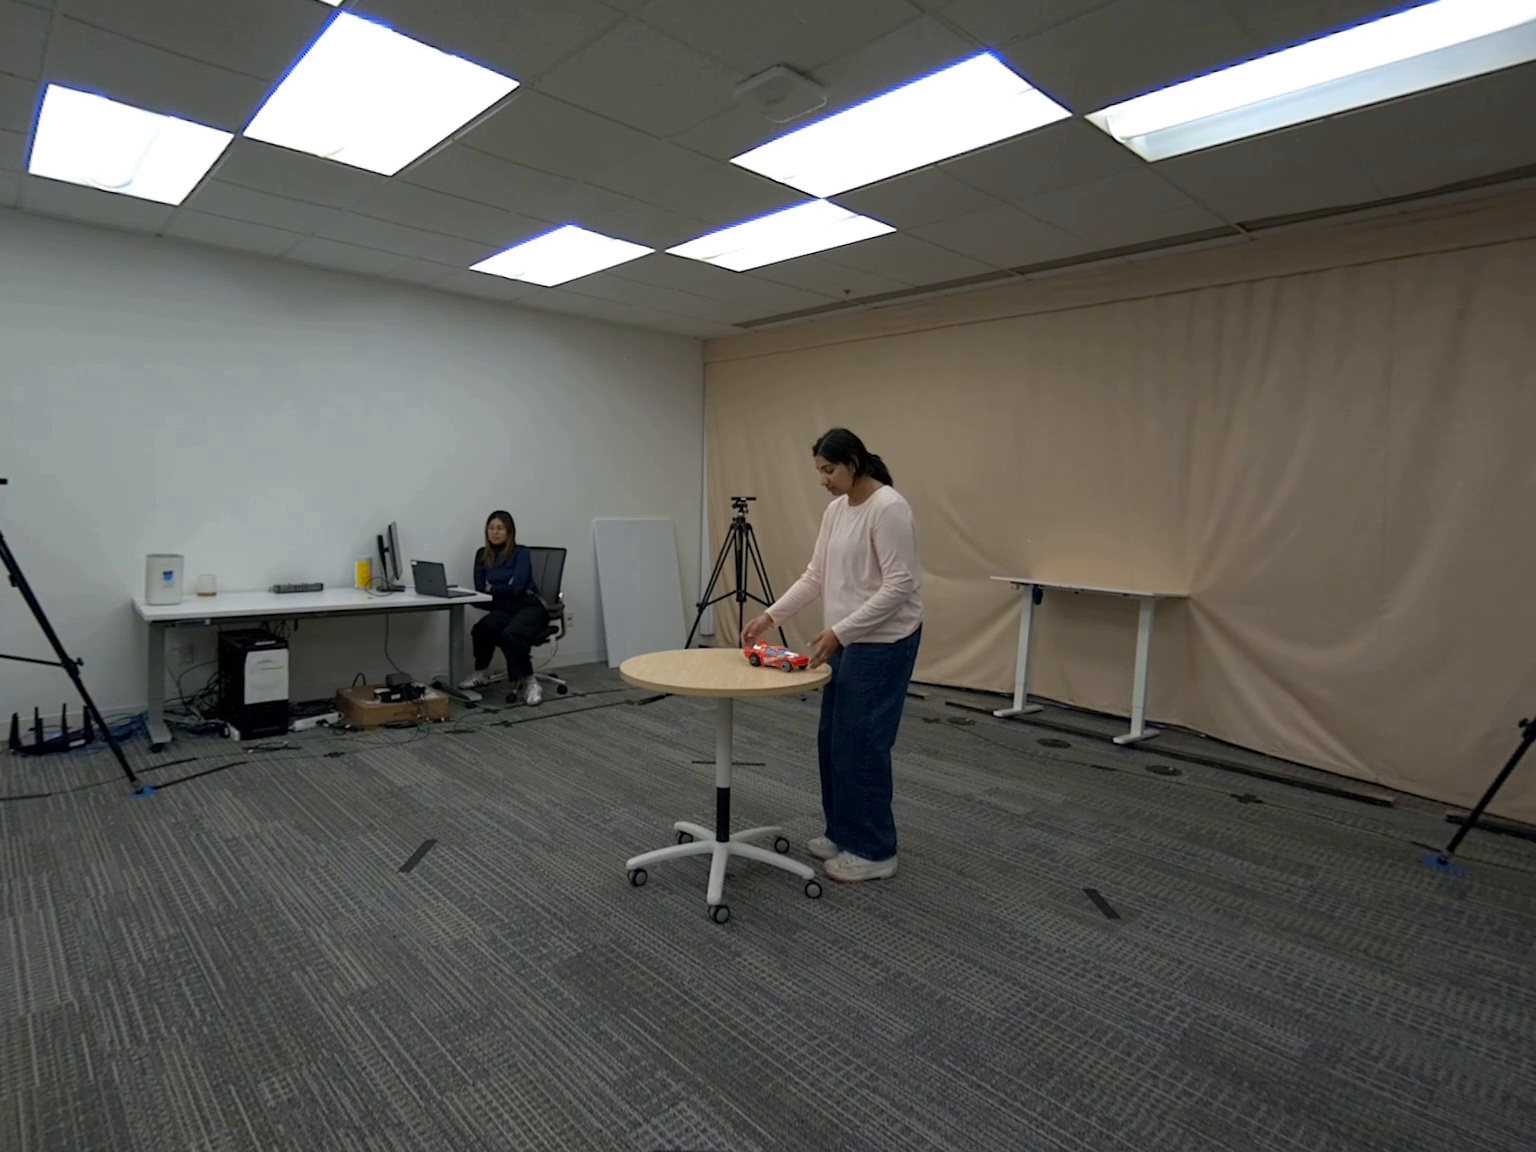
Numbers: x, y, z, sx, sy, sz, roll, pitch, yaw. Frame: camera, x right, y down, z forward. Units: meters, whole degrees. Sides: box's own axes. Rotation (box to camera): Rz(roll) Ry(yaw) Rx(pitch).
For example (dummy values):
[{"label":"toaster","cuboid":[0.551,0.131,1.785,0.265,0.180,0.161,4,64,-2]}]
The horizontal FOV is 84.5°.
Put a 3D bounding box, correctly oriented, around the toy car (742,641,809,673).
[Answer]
[{"label":"toy car","cuboid":[0.015,0.297,3.059,0.262,0.082,0.127,19,15,39]}]
